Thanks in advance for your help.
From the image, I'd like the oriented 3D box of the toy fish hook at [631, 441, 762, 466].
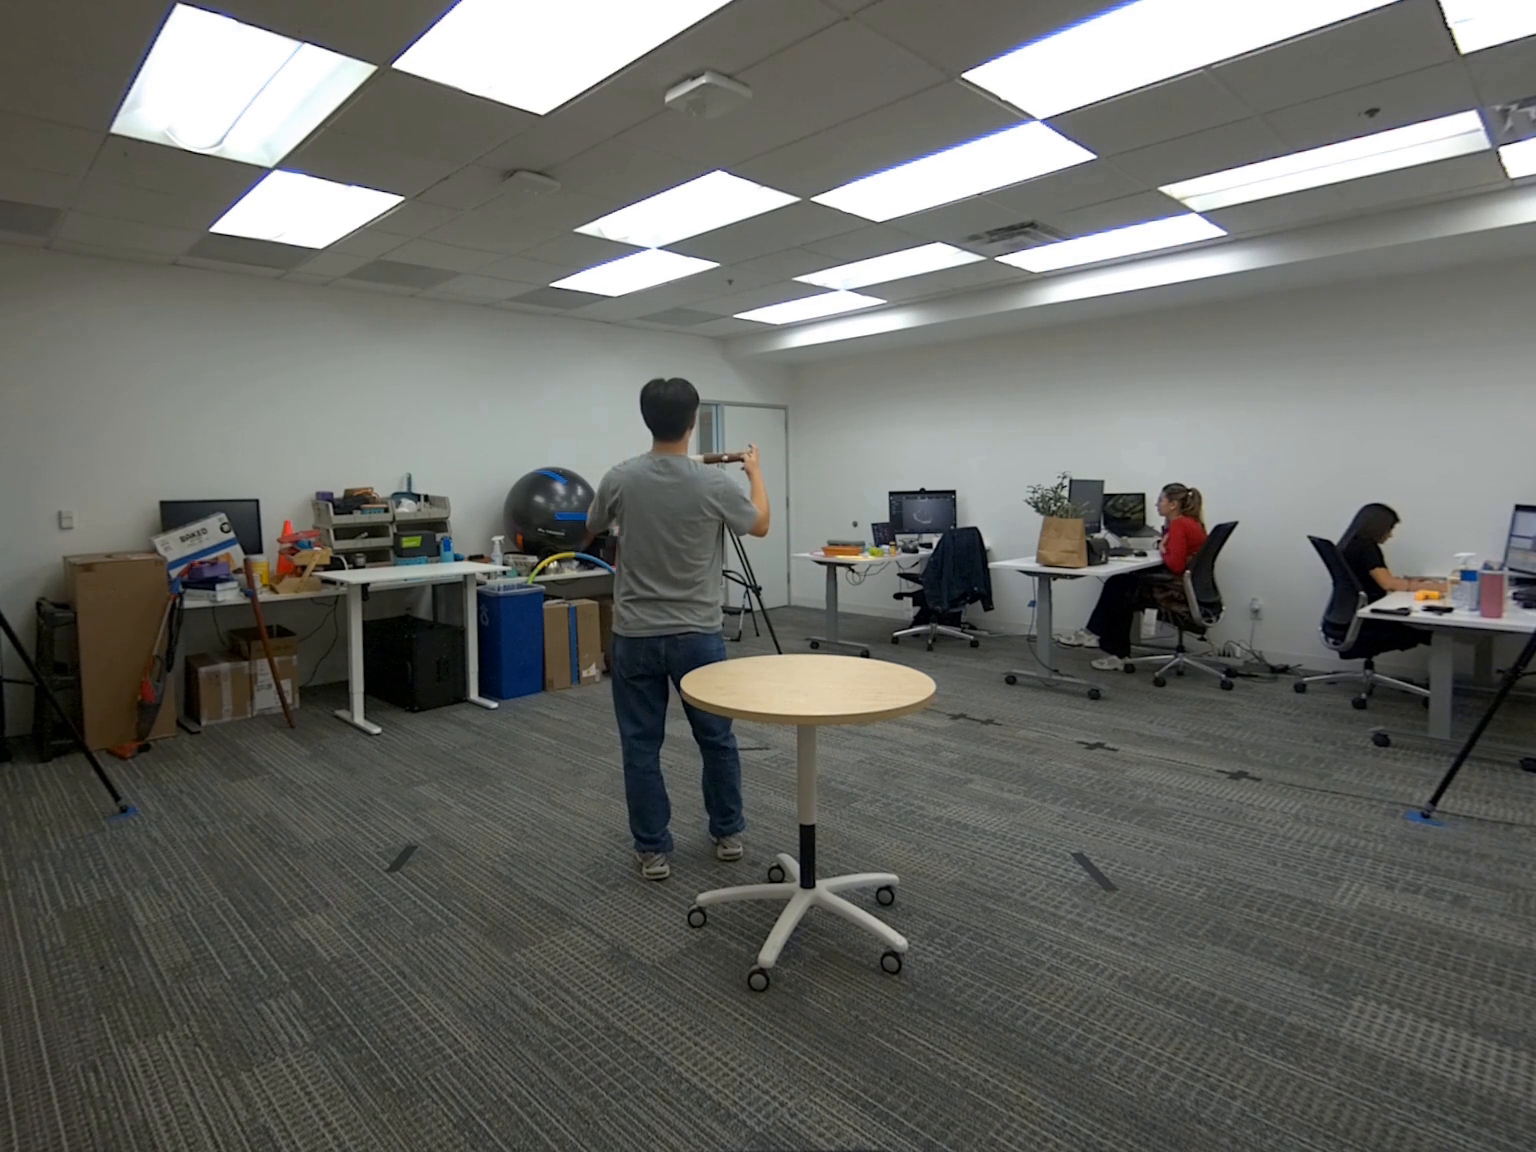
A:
[{"bbox_3d":[-0.286,-0.483,3.444,0.508,0.047,0.227,-5,16,2],"label":"toy fish hook"}]
